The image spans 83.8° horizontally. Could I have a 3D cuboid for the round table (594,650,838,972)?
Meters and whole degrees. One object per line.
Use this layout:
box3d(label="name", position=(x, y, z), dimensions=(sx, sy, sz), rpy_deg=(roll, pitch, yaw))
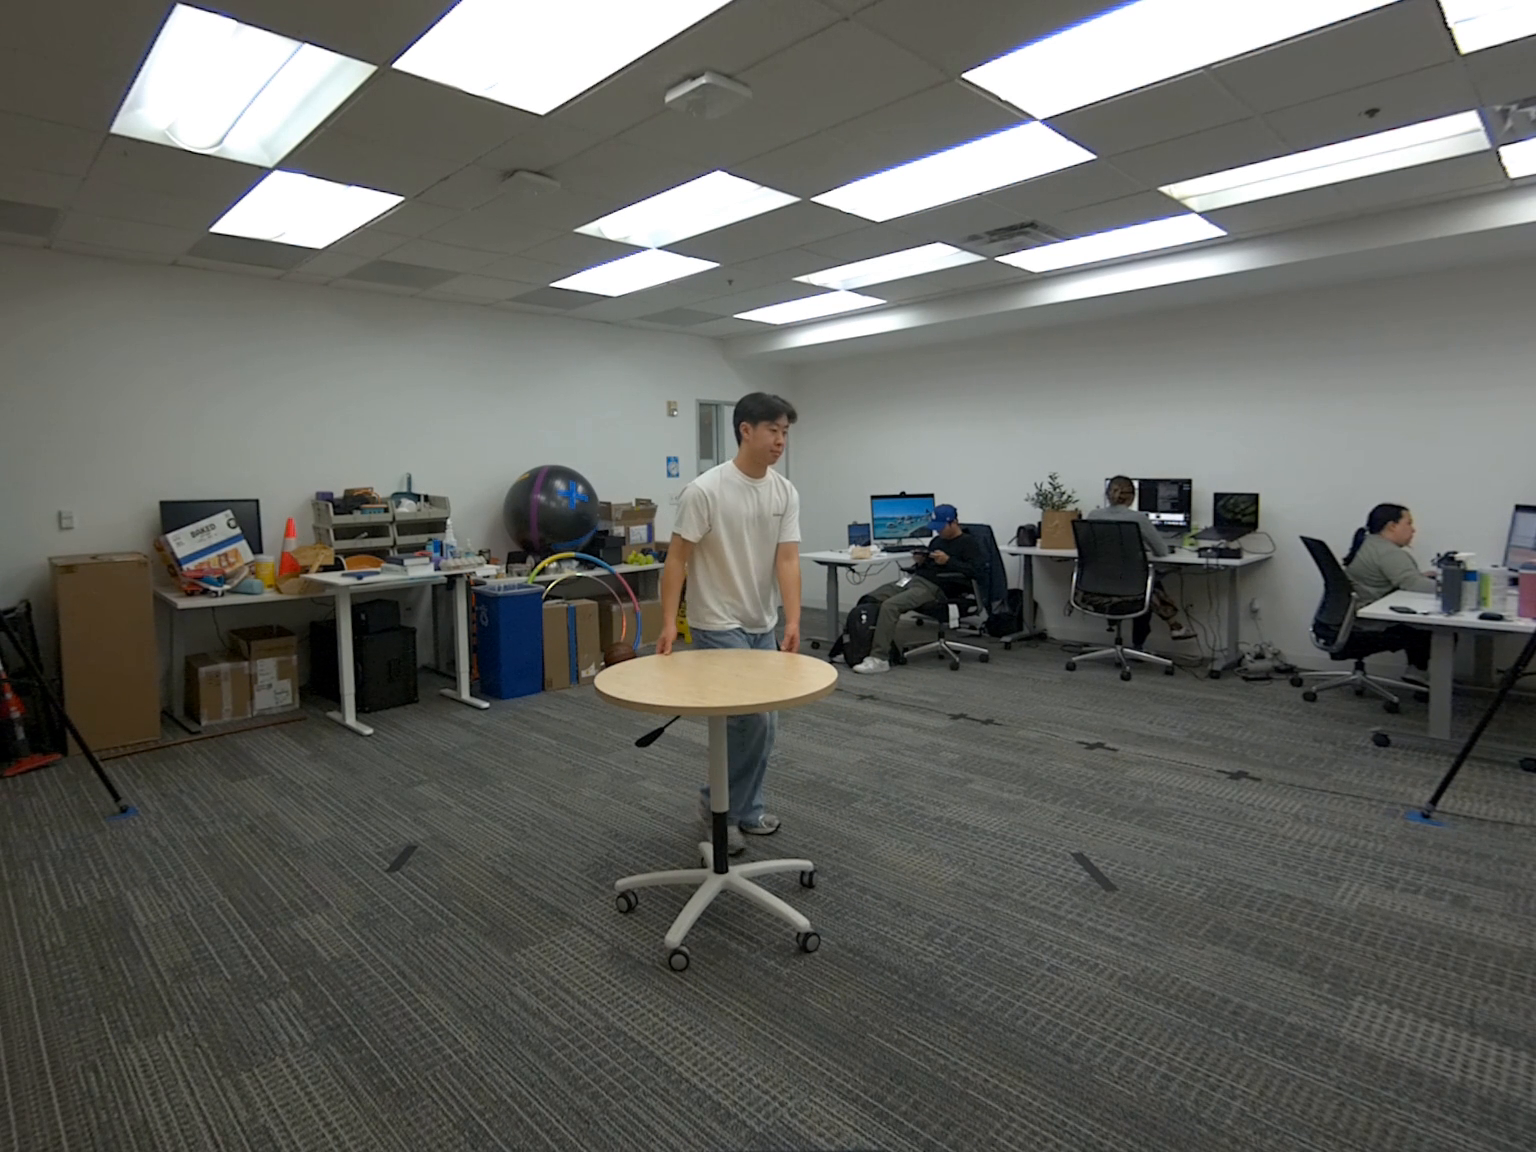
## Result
box3d(label="round table", position=(-0.153, 0.706, 2.730), dimensions=(0.763, 0.790, 0.768), rpy_deg=(-2, 5, -2))
